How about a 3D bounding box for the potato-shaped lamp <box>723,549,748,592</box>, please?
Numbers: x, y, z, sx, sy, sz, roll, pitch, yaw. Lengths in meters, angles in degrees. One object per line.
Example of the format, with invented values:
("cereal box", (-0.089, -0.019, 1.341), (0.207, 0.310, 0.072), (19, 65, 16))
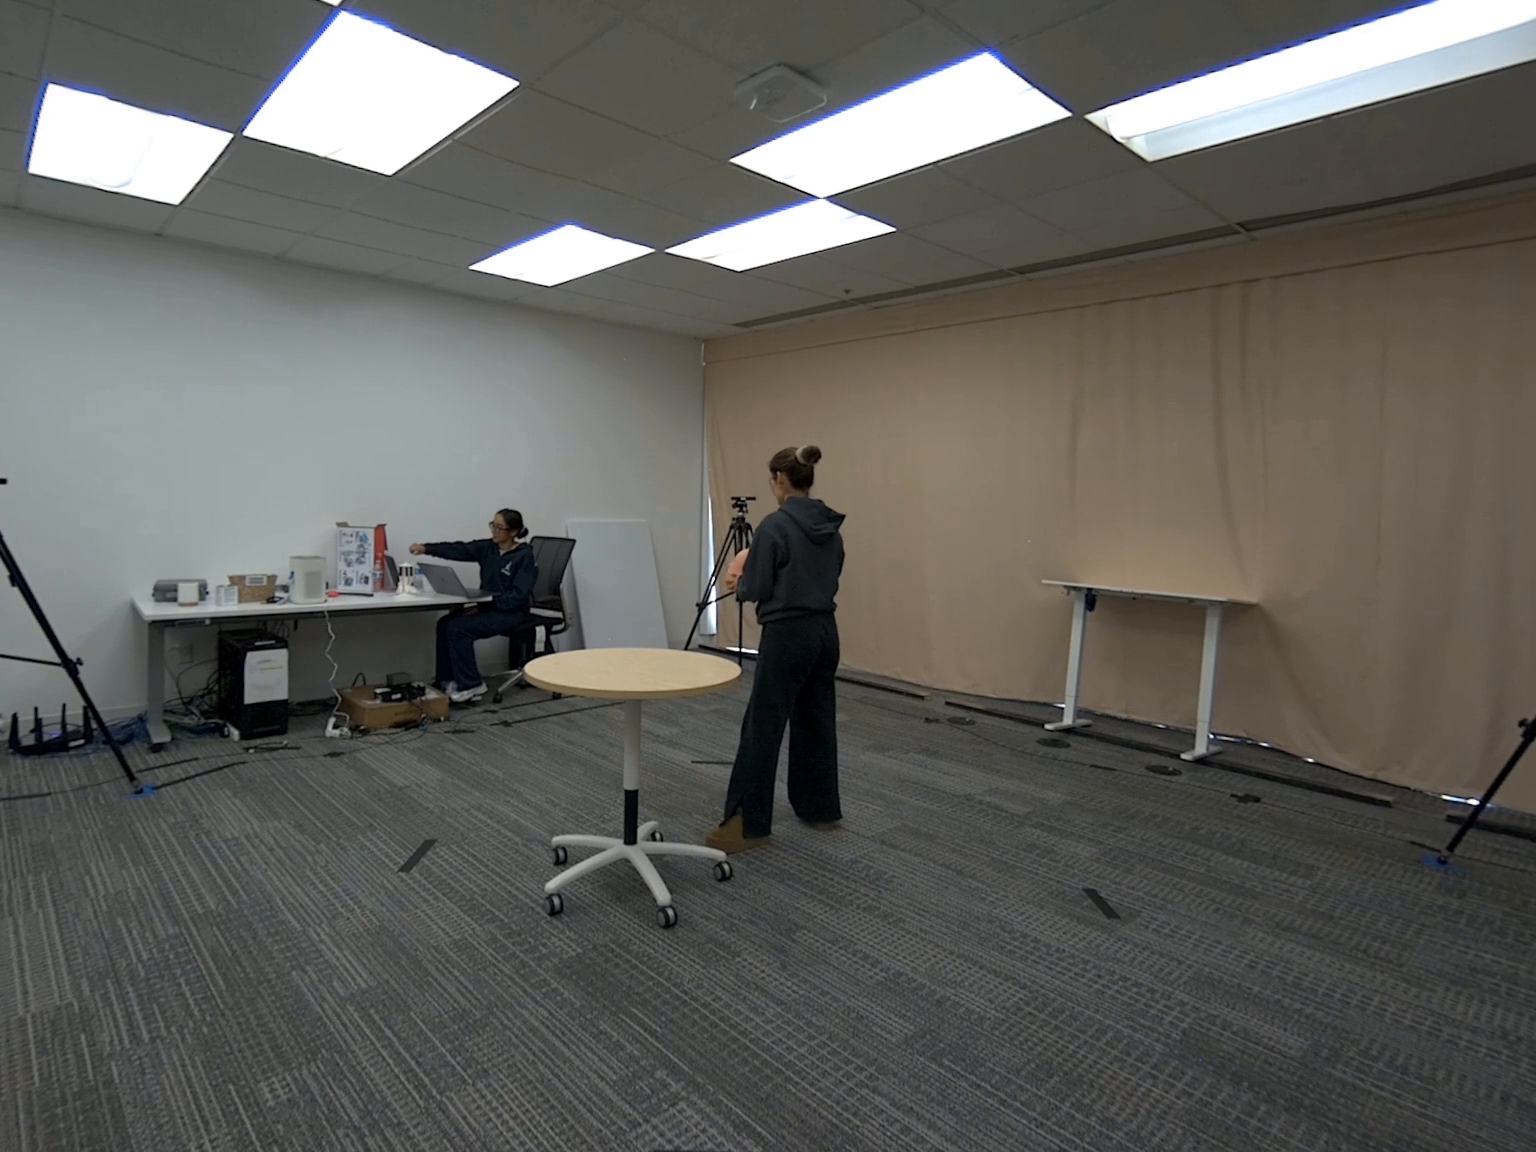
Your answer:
("potato-shaped lamp", (-0.112, -0.029, 3.758), (0.161, 0.196, 0.177), (-4, 24, -38))
